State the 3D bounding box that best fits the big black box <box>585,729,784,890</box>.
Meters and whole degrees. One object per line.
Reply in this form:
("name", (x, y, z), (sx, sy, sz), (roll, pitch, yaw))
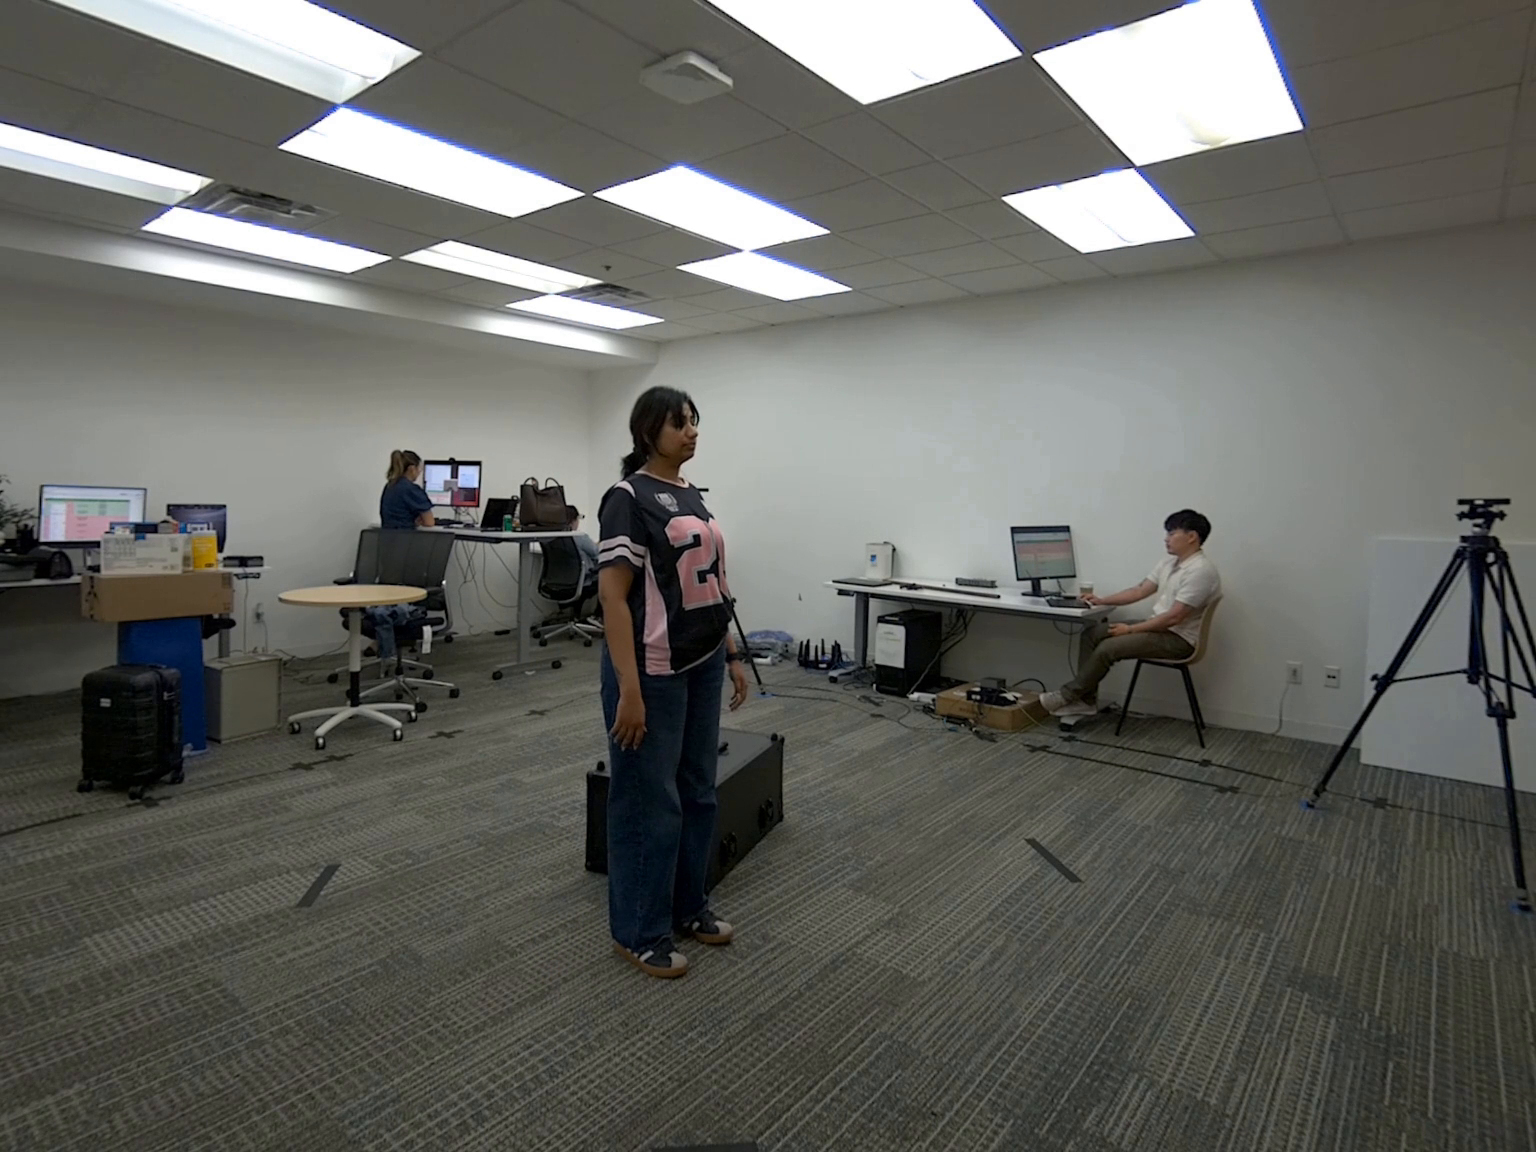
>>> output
("big black box", (-0.300, 0.856, 3.359), (0.535, 0.384, 0.851), (1, 5, 21))
